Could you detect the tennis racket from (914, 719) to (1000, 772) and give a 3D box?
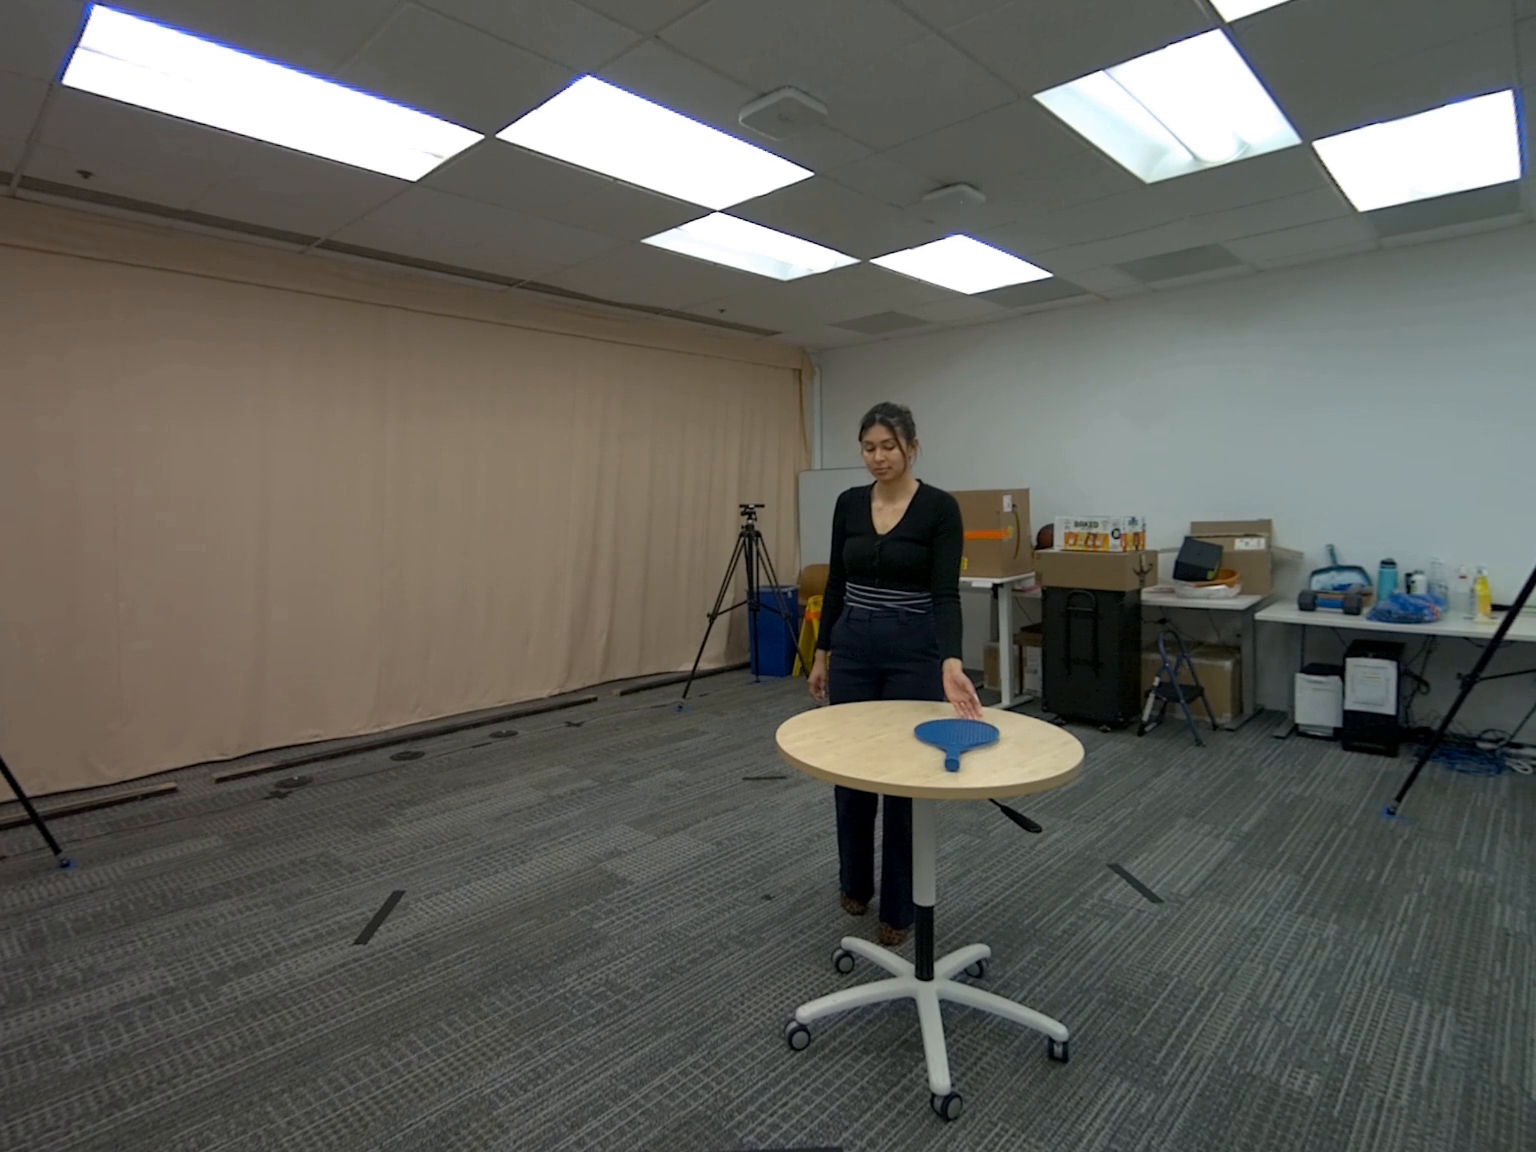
[{"bbox_3d":[0.480,0.417,2.095,0.217,0.032,0.427,-1,5,13],"label":"tennis racket"}]
